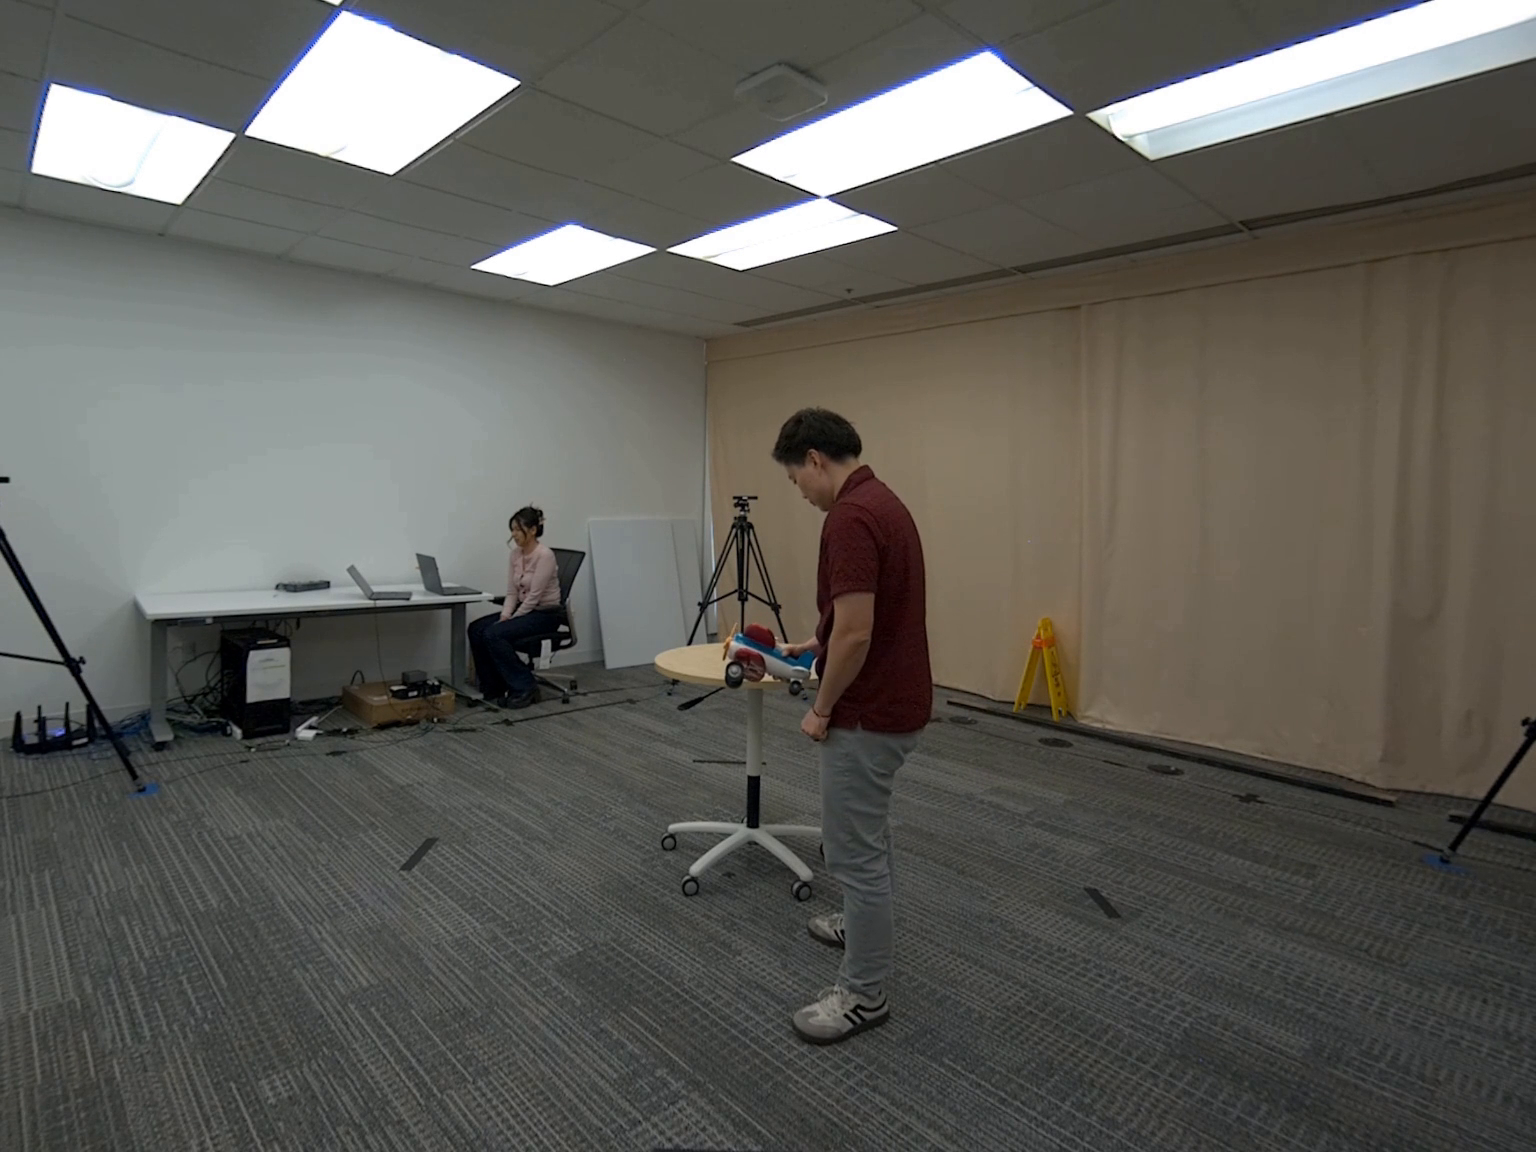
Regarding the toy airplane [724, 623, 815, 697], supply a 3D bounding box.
[{"bbox_3d":[-0.005,0.255,2.414,0.254,0.158,0.252,19,-25,-20],"label":"toy airplane"}]
